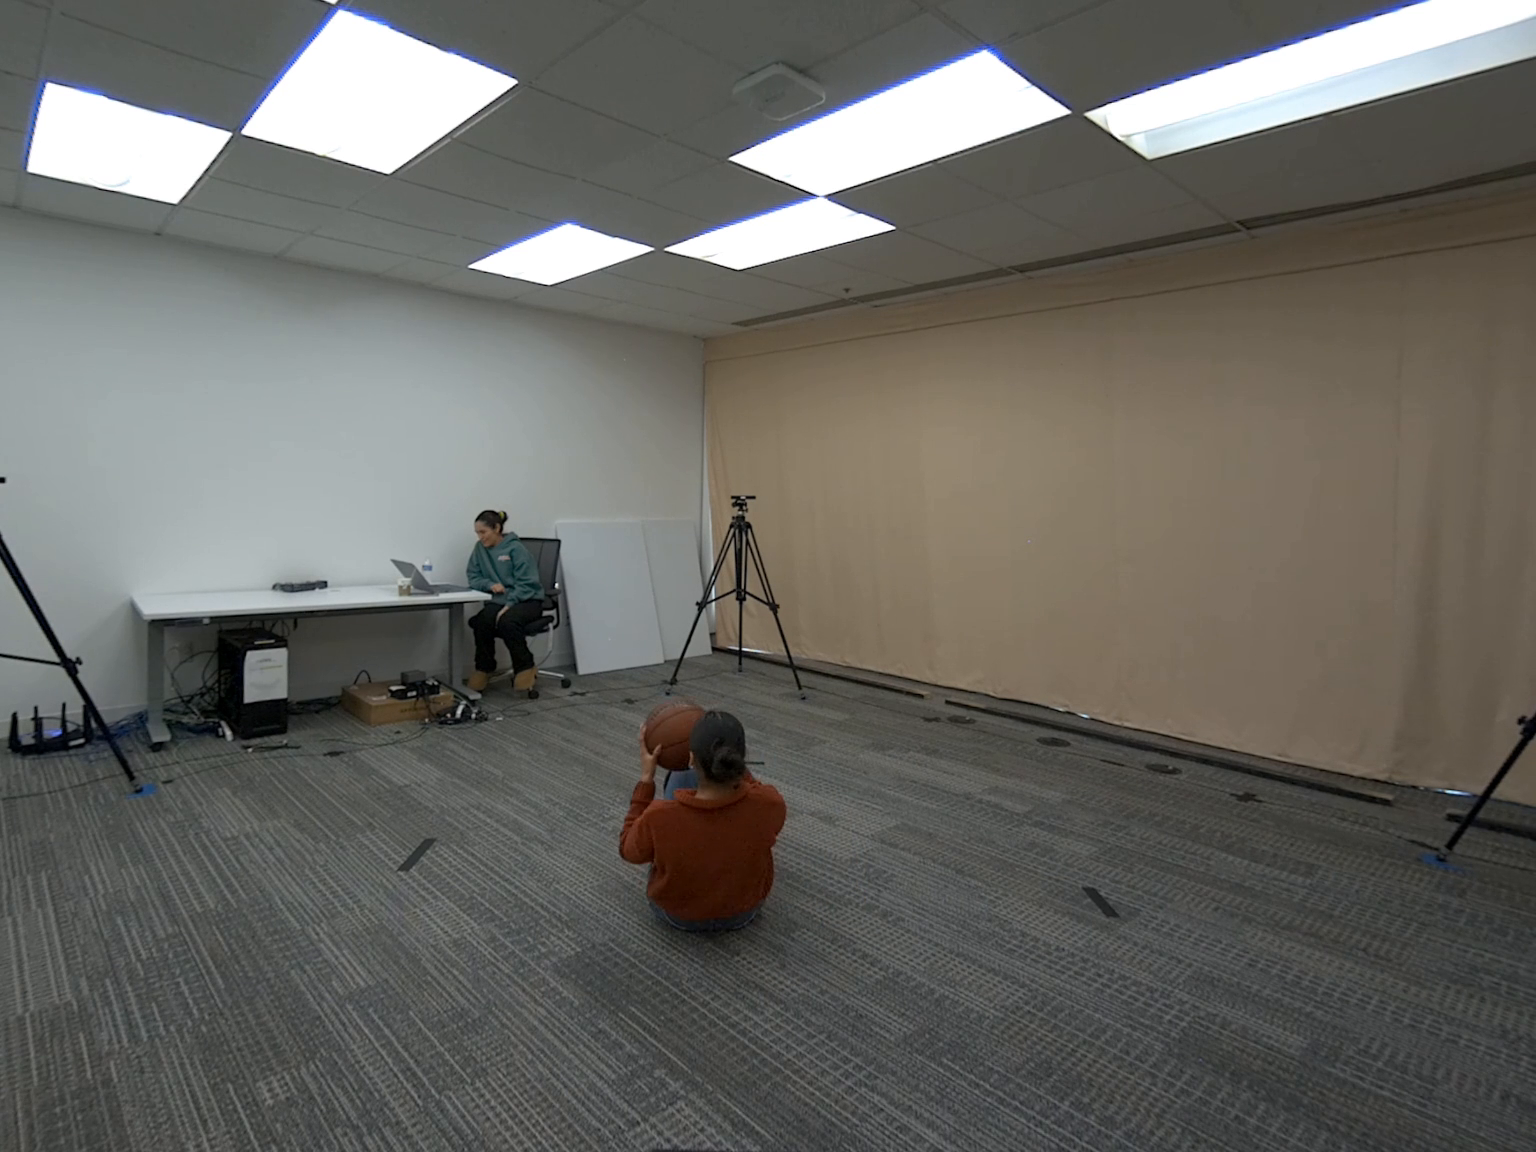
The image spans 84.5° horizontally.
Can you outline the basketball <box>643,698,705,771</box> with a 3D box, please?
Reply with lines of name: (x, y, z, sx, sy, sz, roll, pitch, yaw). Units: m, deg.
basketball: (-0.287, 0.550, 2.772, 0.236, 0.235, 0.237, 1, 4, -1)
